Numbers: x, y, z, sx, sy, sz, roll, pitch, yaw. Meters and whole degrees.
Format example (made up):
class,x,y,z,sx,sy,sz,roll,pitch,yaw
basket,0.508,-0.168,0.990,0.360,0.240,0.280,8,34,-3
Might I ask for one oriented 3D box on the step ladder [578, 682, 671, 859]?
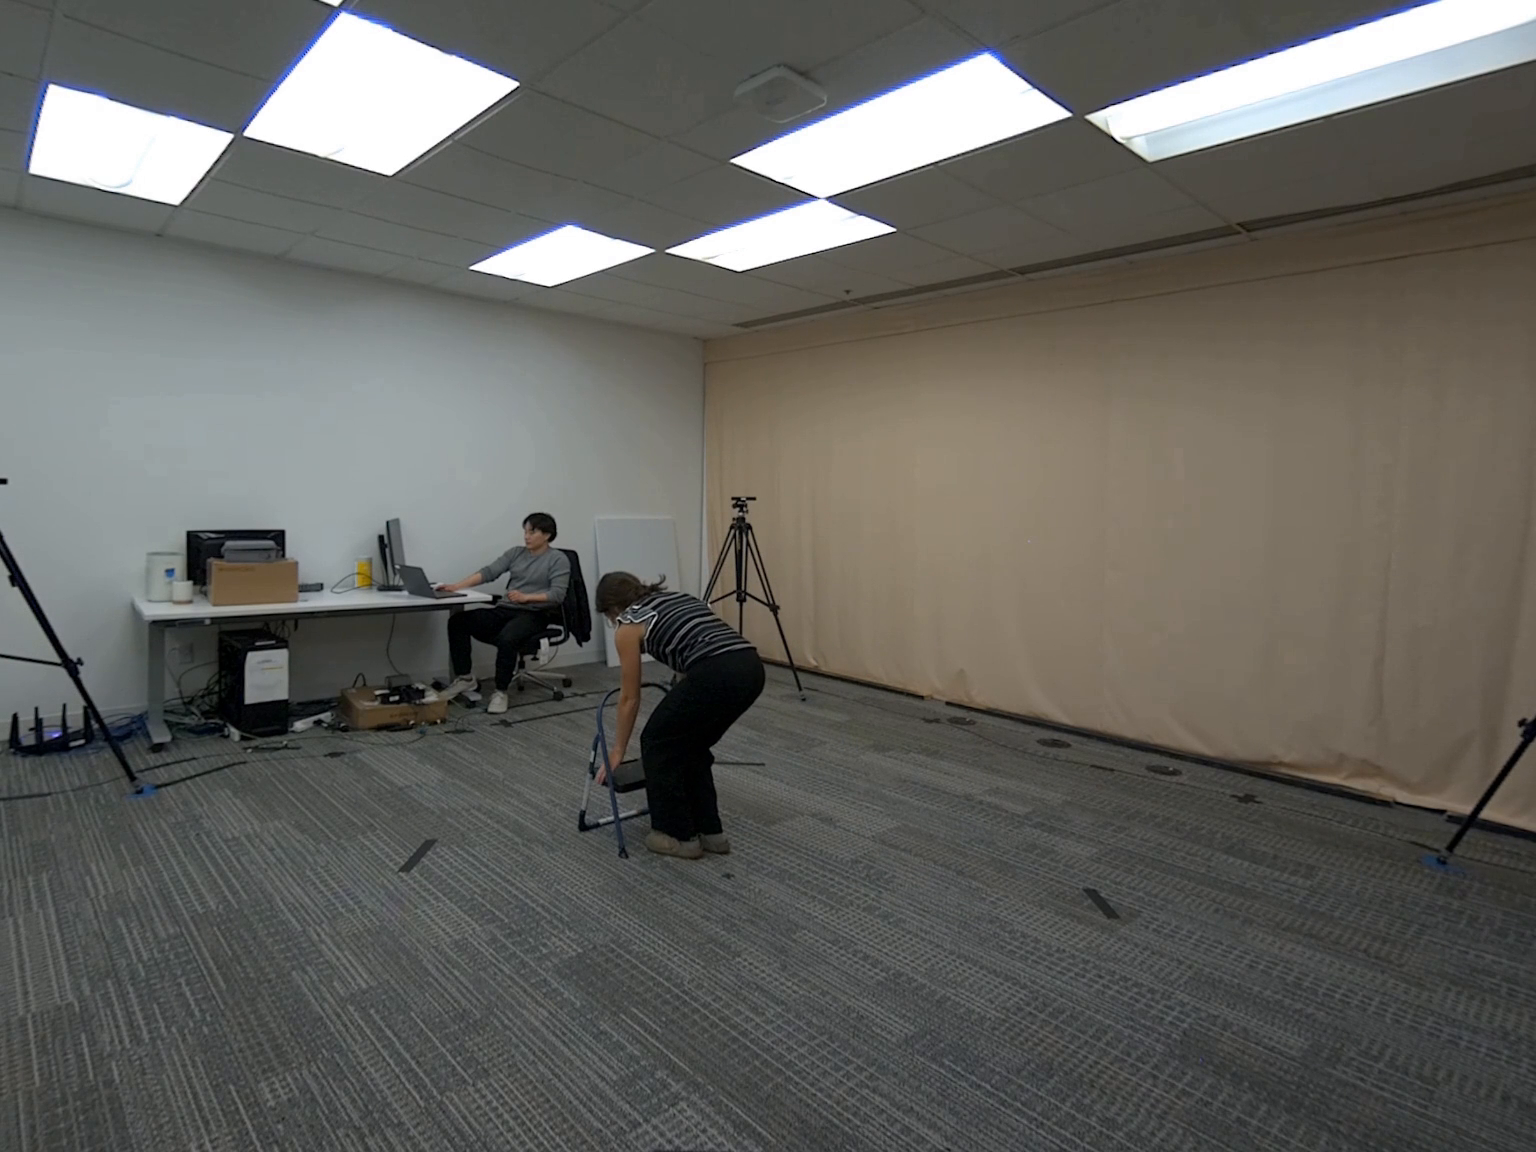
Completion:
class,x,y,z,sx,sy,sz,roll,pitch,yaw
step ladder,-0.523,0.763,3.485,0.421,0.604,0.358,-2,5,-43
